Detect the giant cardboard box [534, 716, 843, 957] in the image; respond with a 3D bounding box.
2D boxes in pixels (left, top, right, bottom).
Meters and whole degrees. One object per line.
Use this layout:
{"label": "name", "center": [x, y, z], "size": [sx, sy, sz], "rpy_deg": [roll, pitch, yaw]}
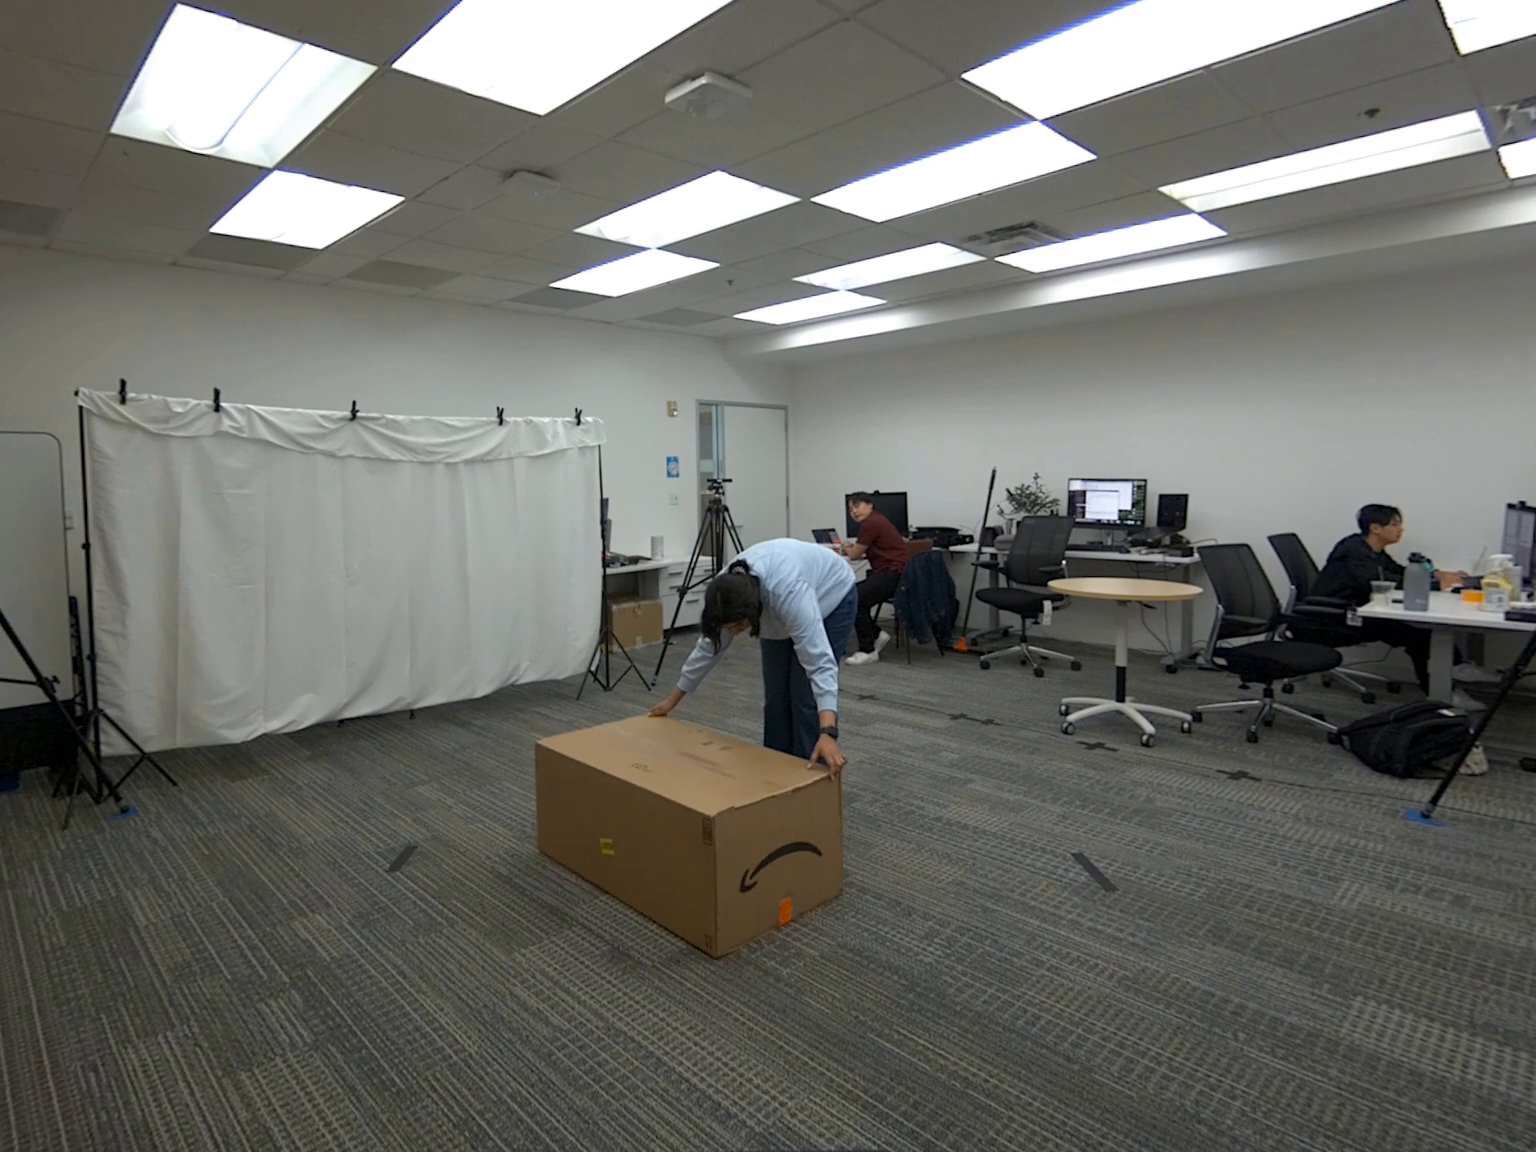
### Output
{"label": "giant cardboard box", "center": [-0.316, 0.848, 3.038], "size": [0.562, 0.424, 1.058], "rpy_deg": [-5, 7, -43]}
